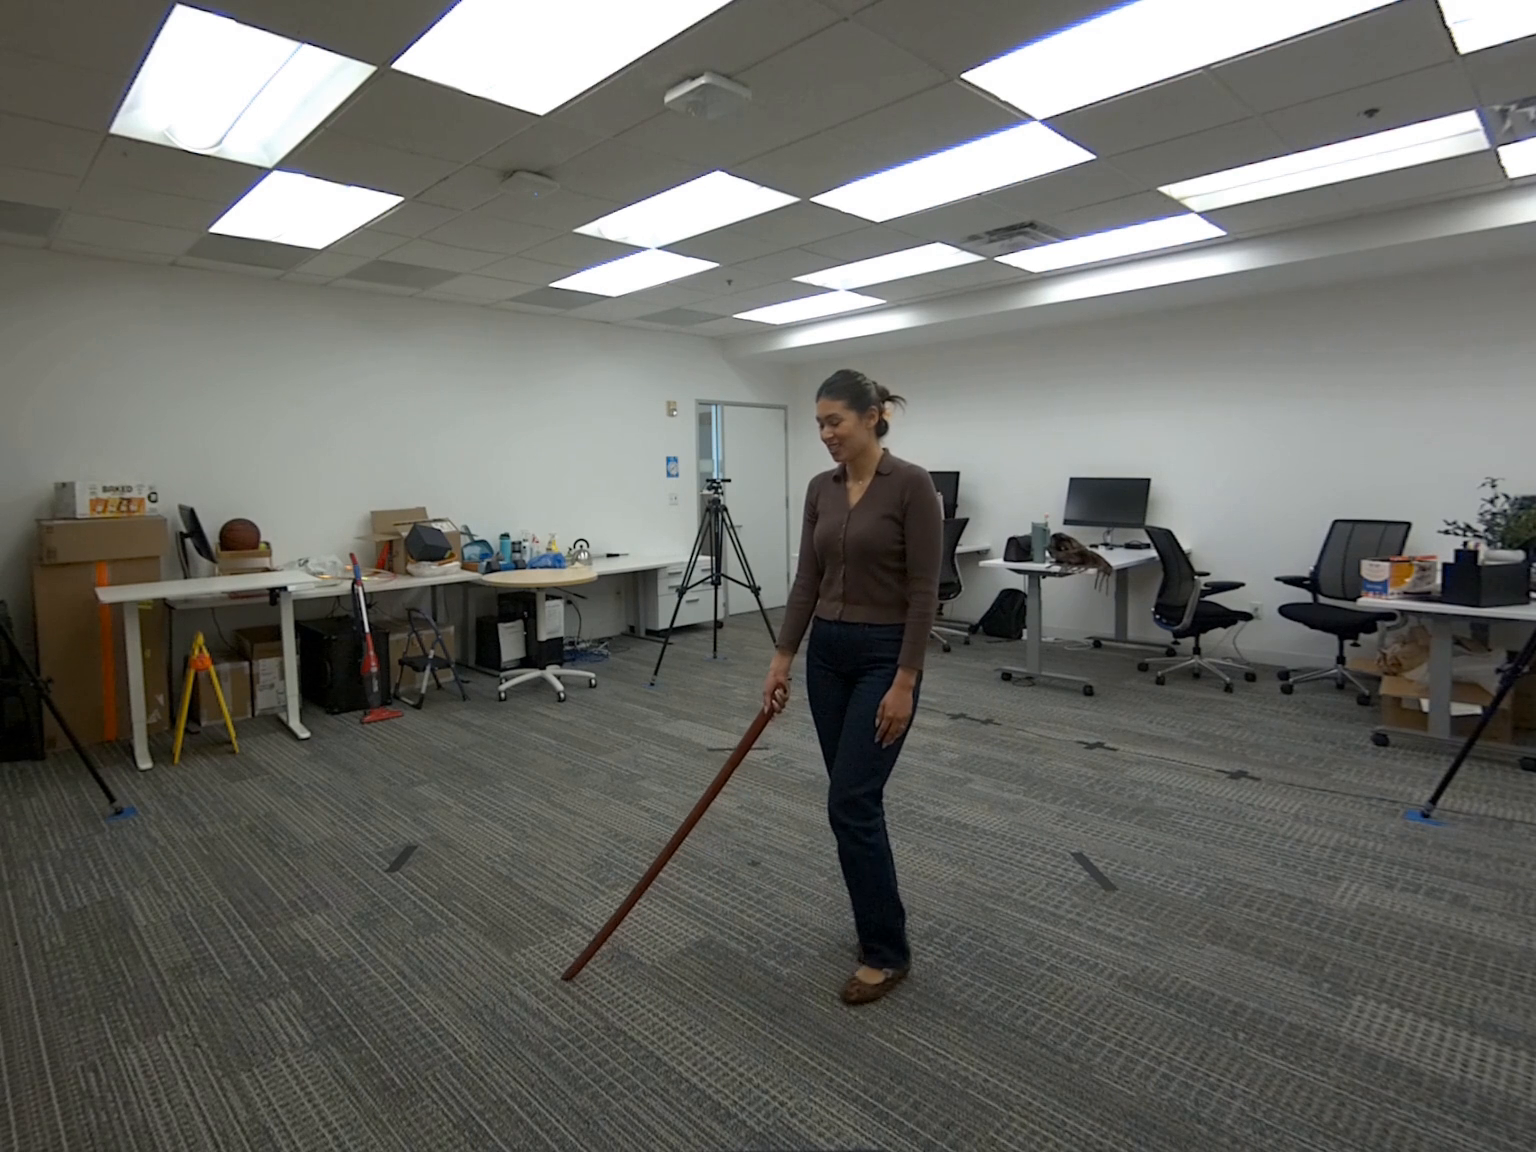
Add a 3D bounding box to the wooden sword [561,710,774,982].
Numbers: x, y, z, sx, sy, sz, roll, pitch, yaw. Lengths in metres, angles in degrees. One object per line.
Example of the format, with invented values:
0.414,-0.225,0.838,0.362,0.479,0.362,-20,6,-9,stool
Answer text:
-0.253,0.748,2.423,0.053,1.025,0.023,30,-9,49,wooden sword
